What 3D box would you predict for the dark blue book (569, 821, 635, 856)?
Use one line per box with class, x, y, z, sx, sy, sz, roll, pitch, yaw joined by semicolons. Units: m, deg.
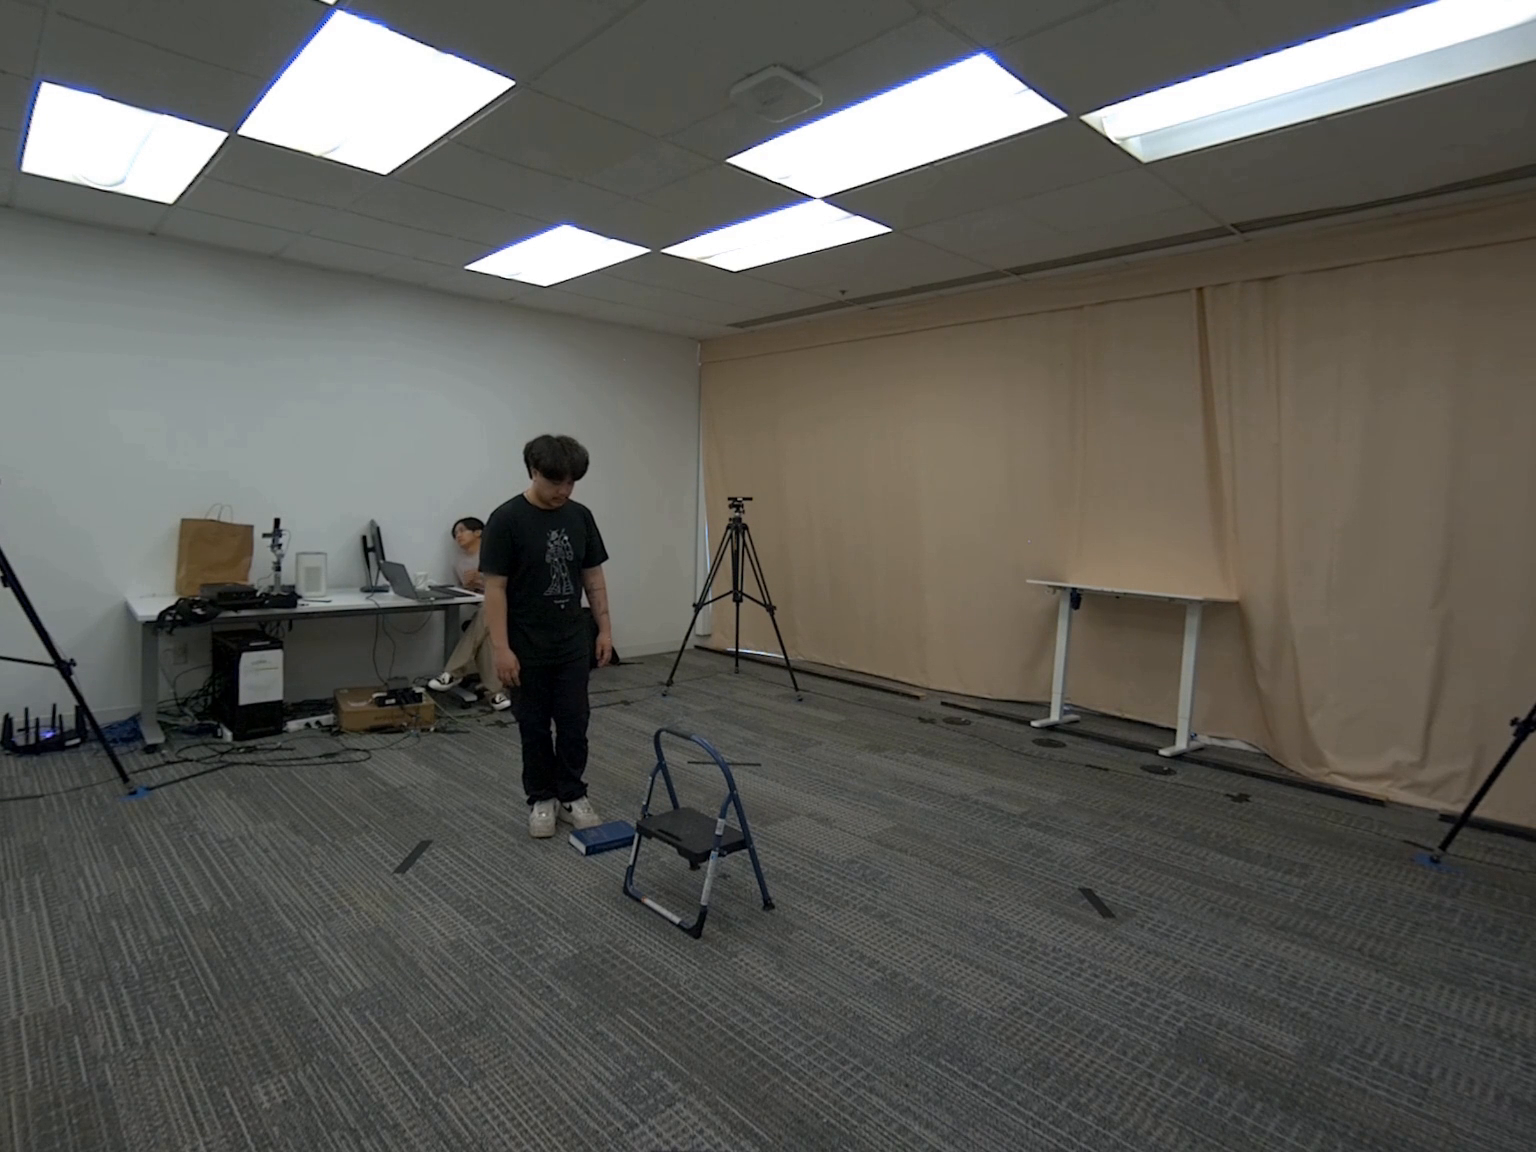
dark blue book;-0.665;1.051;3.376;0.240;0.045;0.167;-2;6;-35
